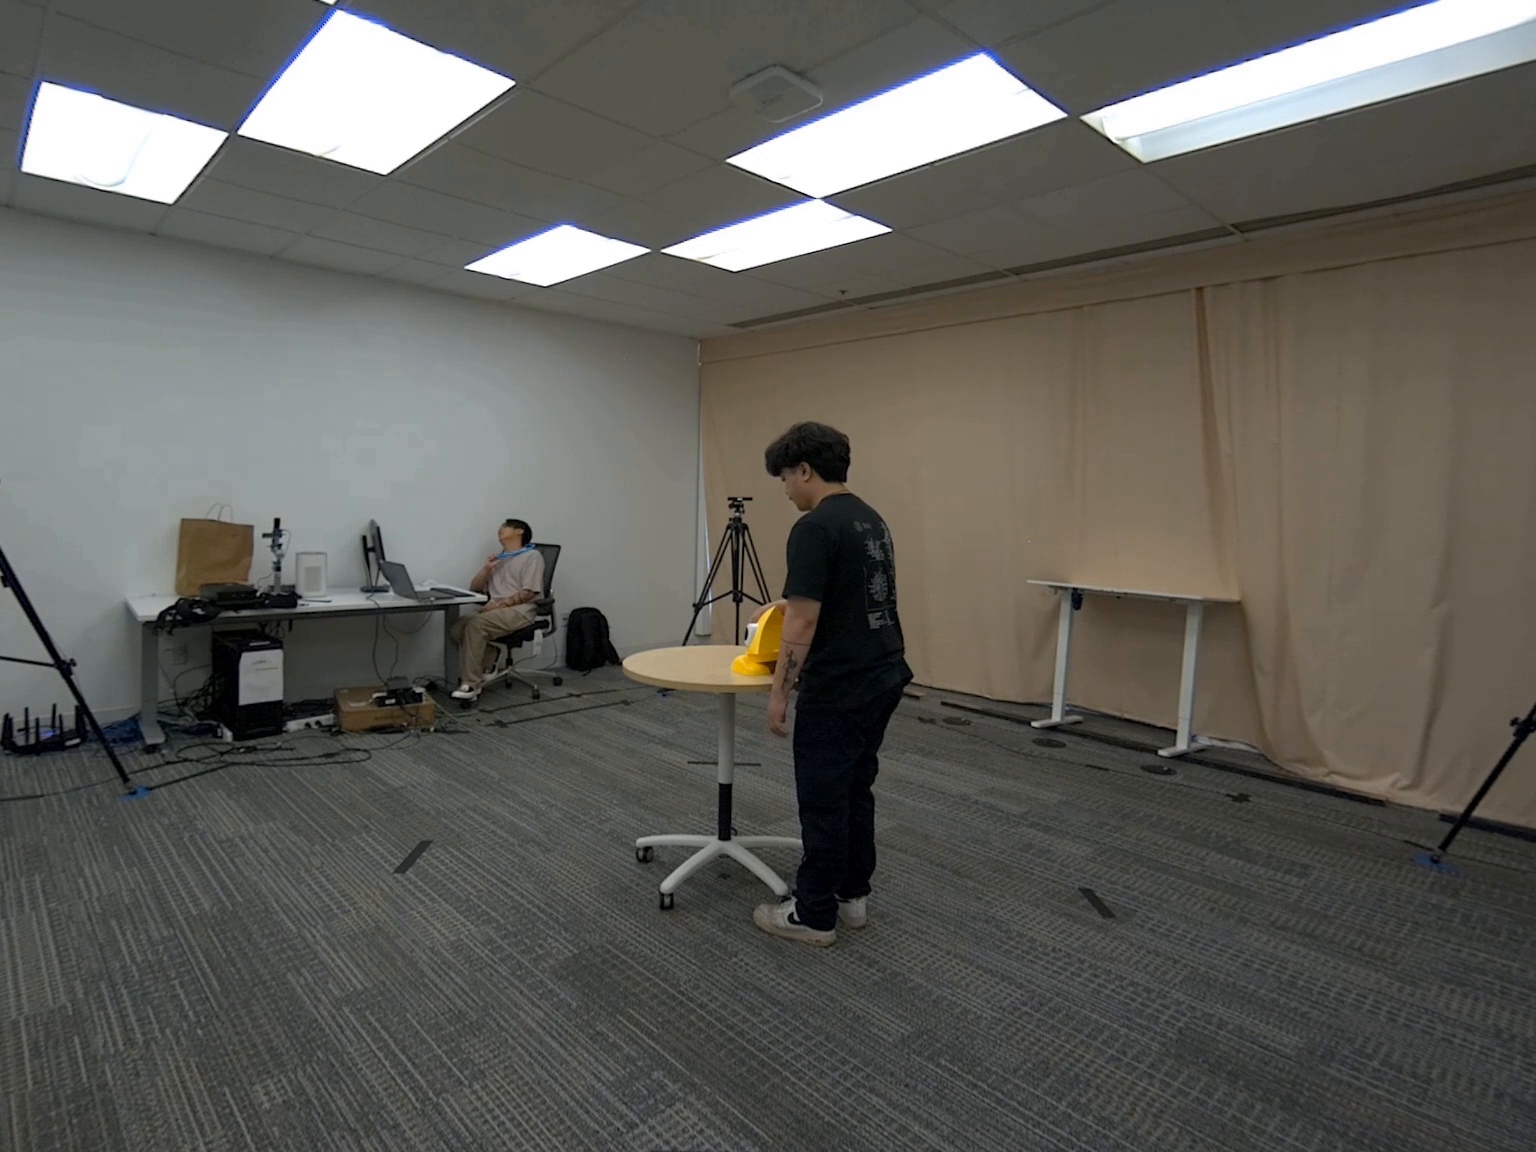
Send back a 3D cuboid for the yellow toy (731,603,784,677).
[{"bbox_3d":[-0.028,0.218,2.929,0.200,0.230,0.198,-4,6,-42],"label":"yellow toy"}]
